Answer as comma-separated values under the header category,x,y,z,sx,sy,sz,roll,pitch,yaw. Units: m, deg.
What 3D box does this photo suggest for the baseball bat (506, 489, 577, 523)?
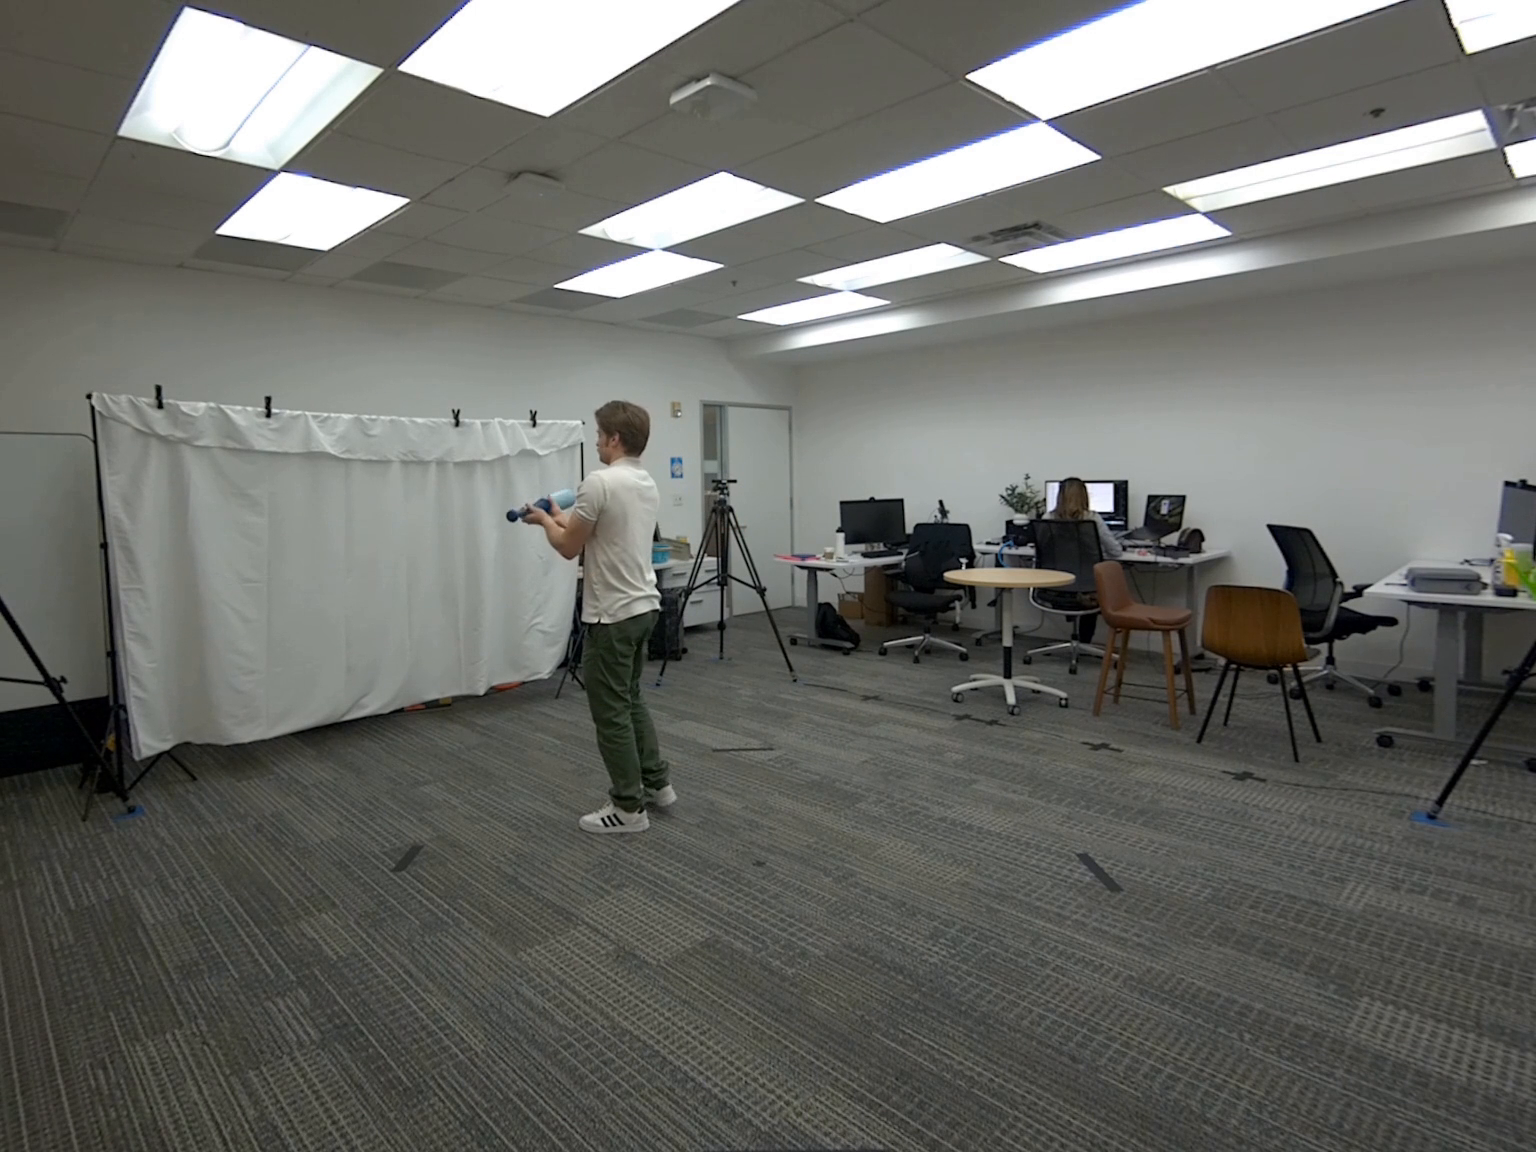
category,x,y,z,sx,sy,sz,roll,pitch,yaw
baseball bat,-0.963,-0.300,3.661,0.090,0.088,0.542,0,13,11
